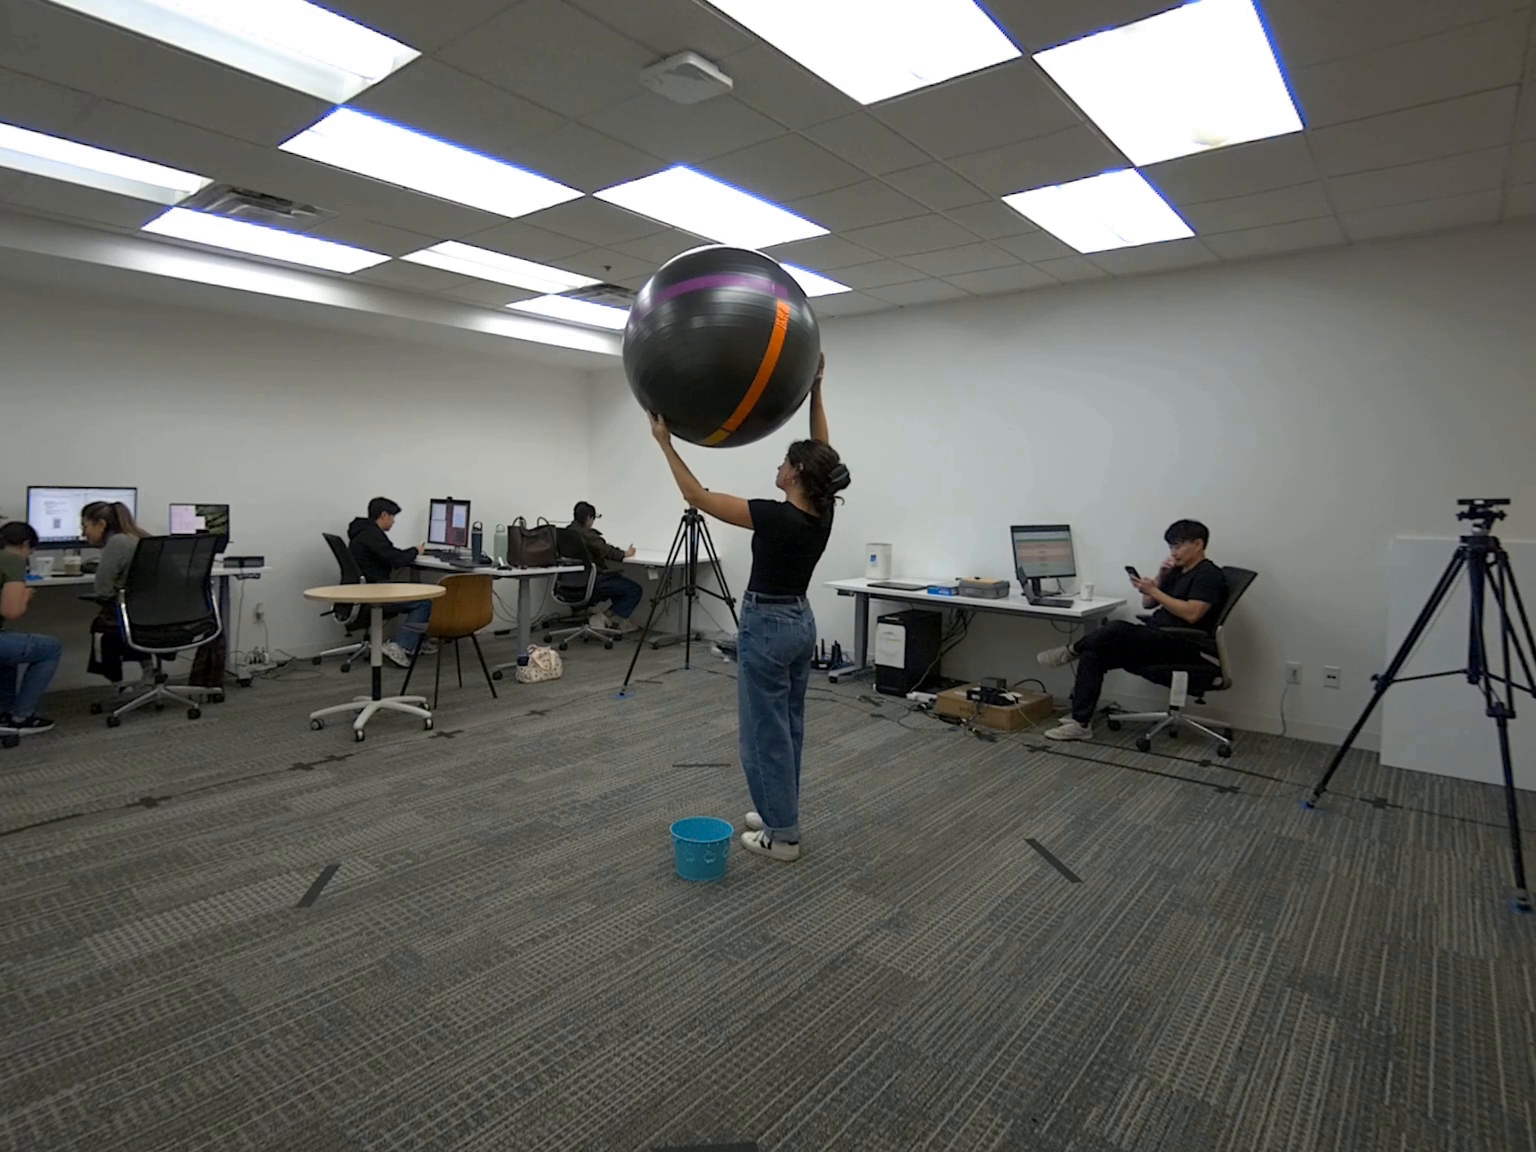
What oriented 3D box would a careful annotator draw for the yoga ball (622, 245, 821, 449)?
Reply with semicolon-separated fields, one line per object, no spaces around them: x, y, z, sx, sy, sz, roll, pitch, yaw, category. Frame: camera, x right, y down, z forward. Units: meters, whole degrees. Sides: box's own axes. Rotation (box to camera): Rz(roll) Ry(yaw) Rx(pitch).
-0.186;-0.869;3.264;0.757;0.756;0.762;1;4;-2;yoga ball
